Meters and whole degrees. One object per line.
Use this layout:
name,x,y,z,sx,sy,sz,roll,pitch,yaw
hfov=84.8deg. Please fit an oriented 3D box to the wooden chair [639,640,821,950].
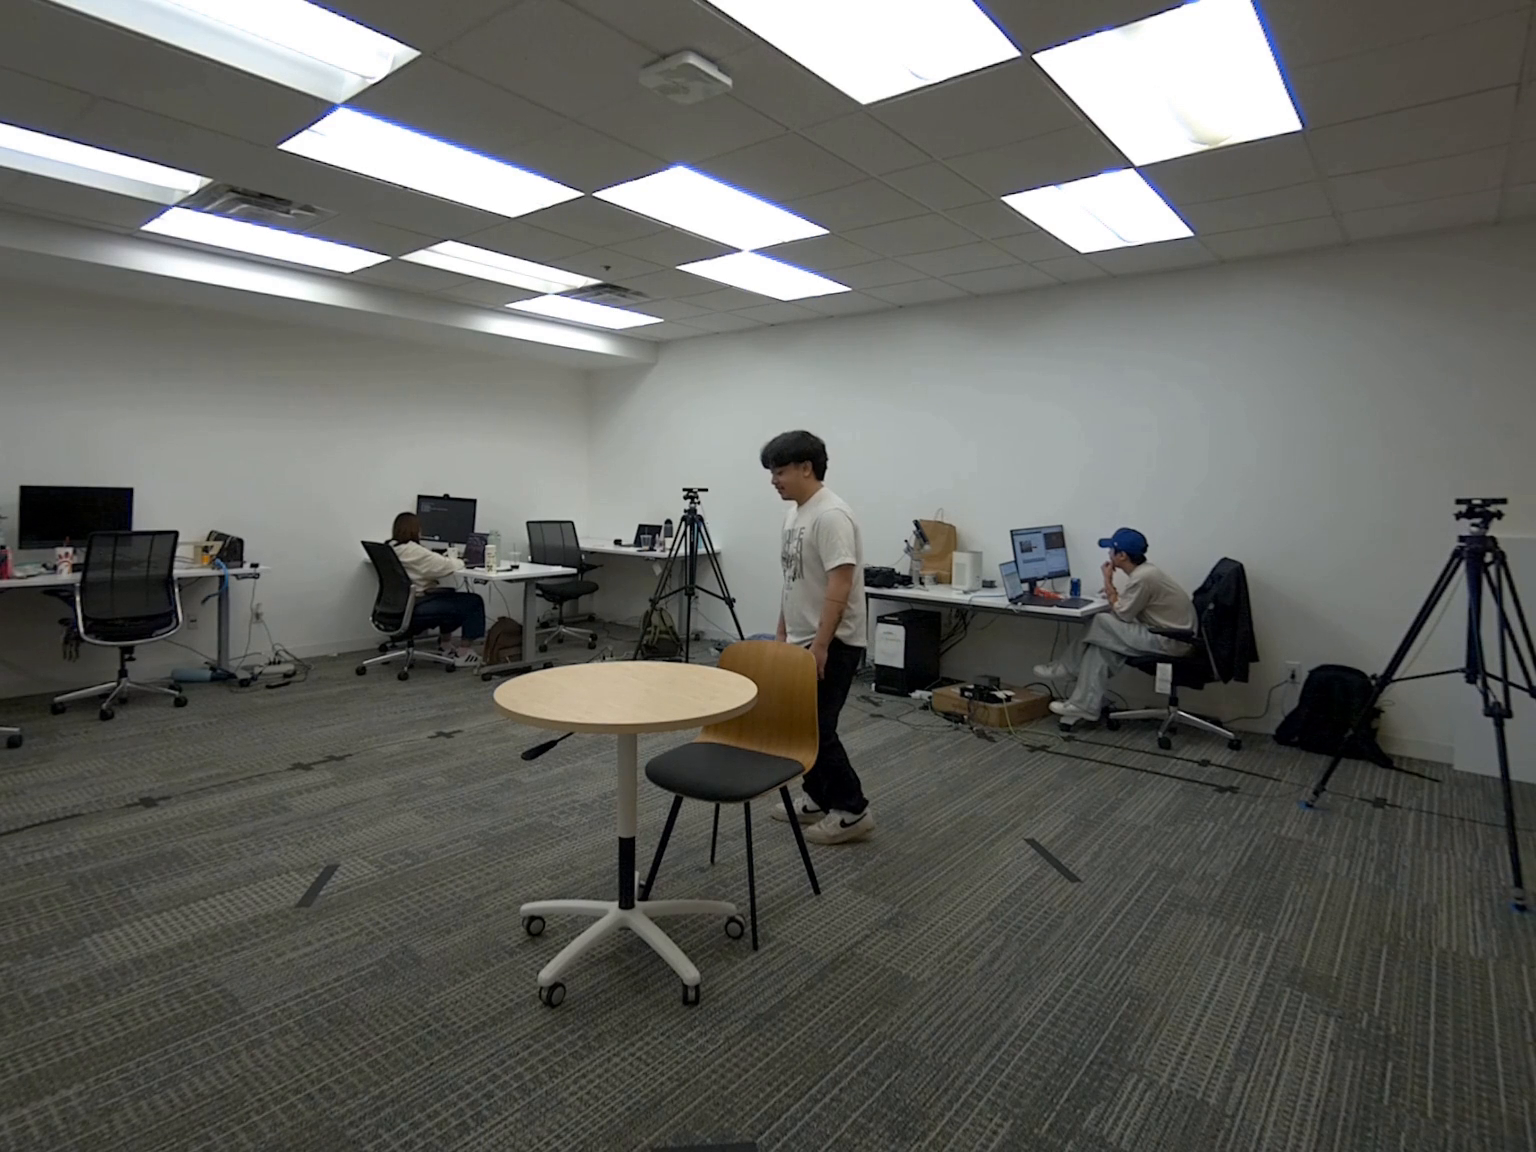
wooden chair,-0.127,0.671,2.833,0.493,0.877,0.507,4,0,31
